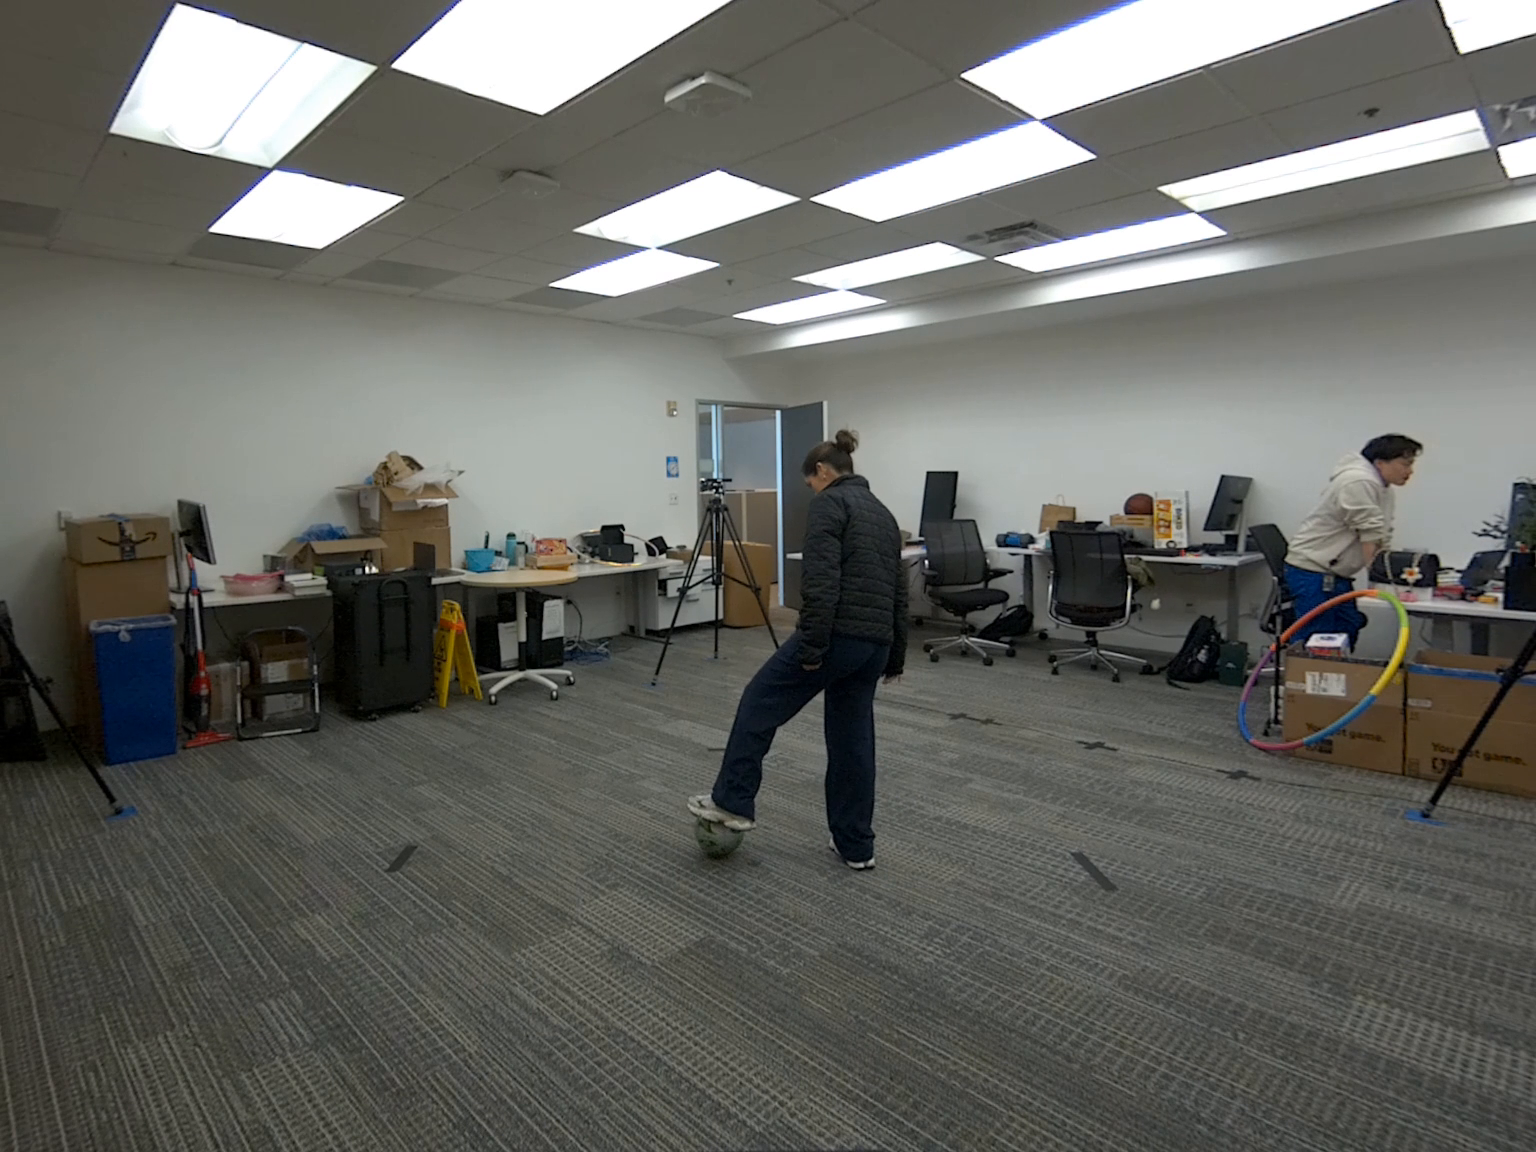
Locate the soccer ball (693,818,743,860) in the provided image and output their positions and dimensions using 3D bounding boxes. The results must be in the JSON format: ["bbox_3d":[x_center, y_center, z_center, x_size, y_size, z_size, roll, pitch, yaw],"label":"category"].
[{"bbox_3d":[-0.173,0.939,3.179,0.187,0.187,0.188,-1,5,-2],"label":"soccer ball"}]
